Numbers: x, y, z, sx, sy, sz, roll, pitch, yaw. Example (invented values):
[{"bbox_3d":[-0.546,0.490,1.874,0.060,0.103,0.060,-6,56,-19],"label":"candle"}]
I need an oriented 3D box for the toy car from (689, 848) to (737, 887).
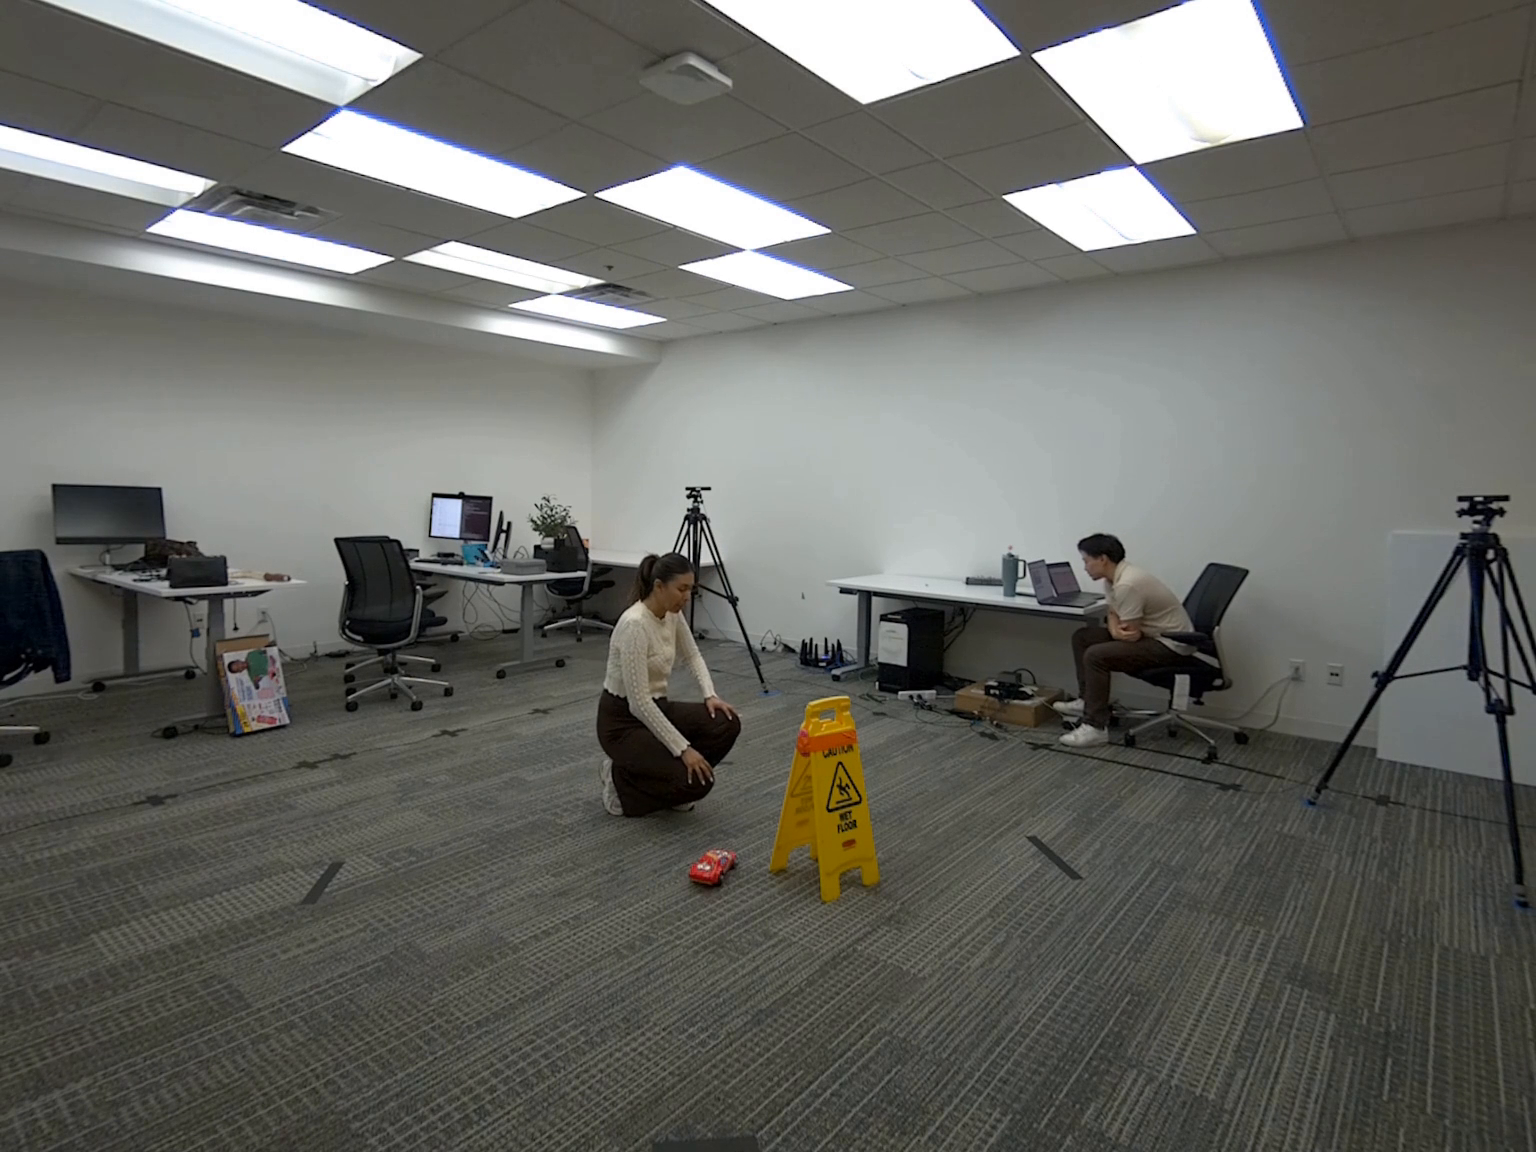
[{"bbox_3d":[-0.213,1.040,3.048,0.133,0.083,0.248,5,-5,19],"label":"toy car"}]
